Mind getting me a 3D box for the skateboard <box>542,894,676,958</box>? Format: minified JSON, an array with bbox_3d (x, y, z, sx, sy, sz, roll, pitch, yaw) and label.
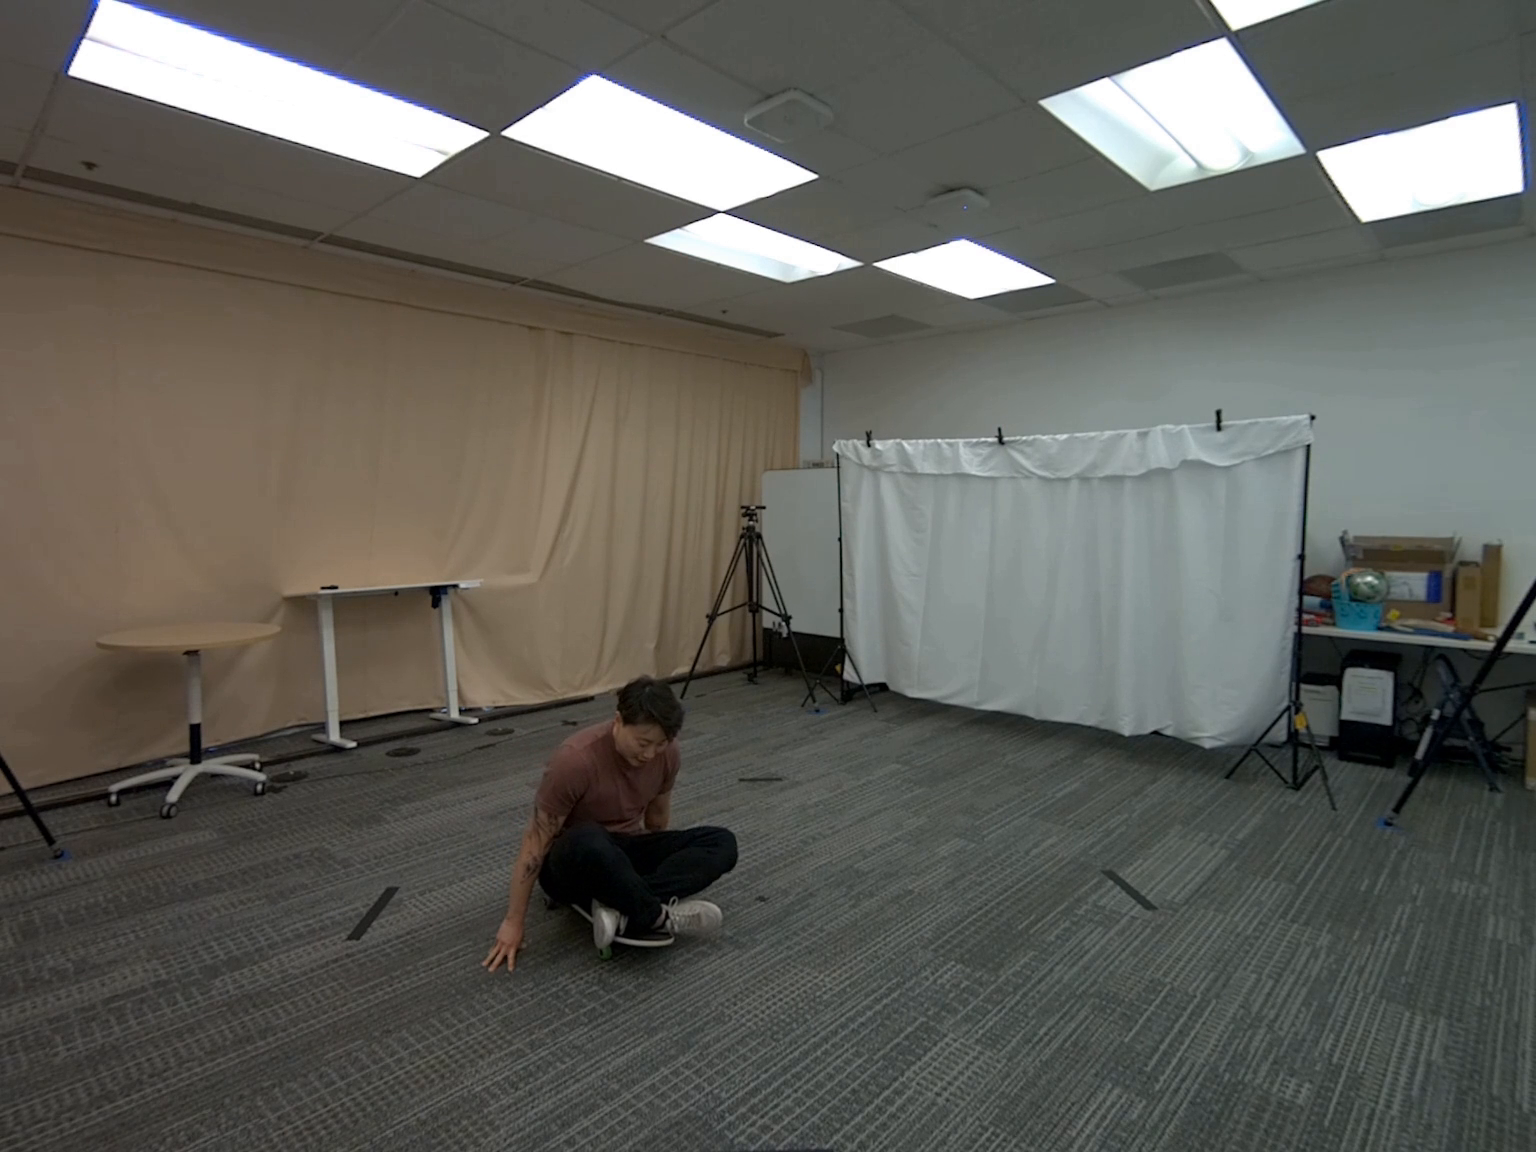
[{"bbox_3d":[-0.580,1.105,2.786,0.187,0.110,0.808,9,-4,-32],"label":"skateboard"}]
